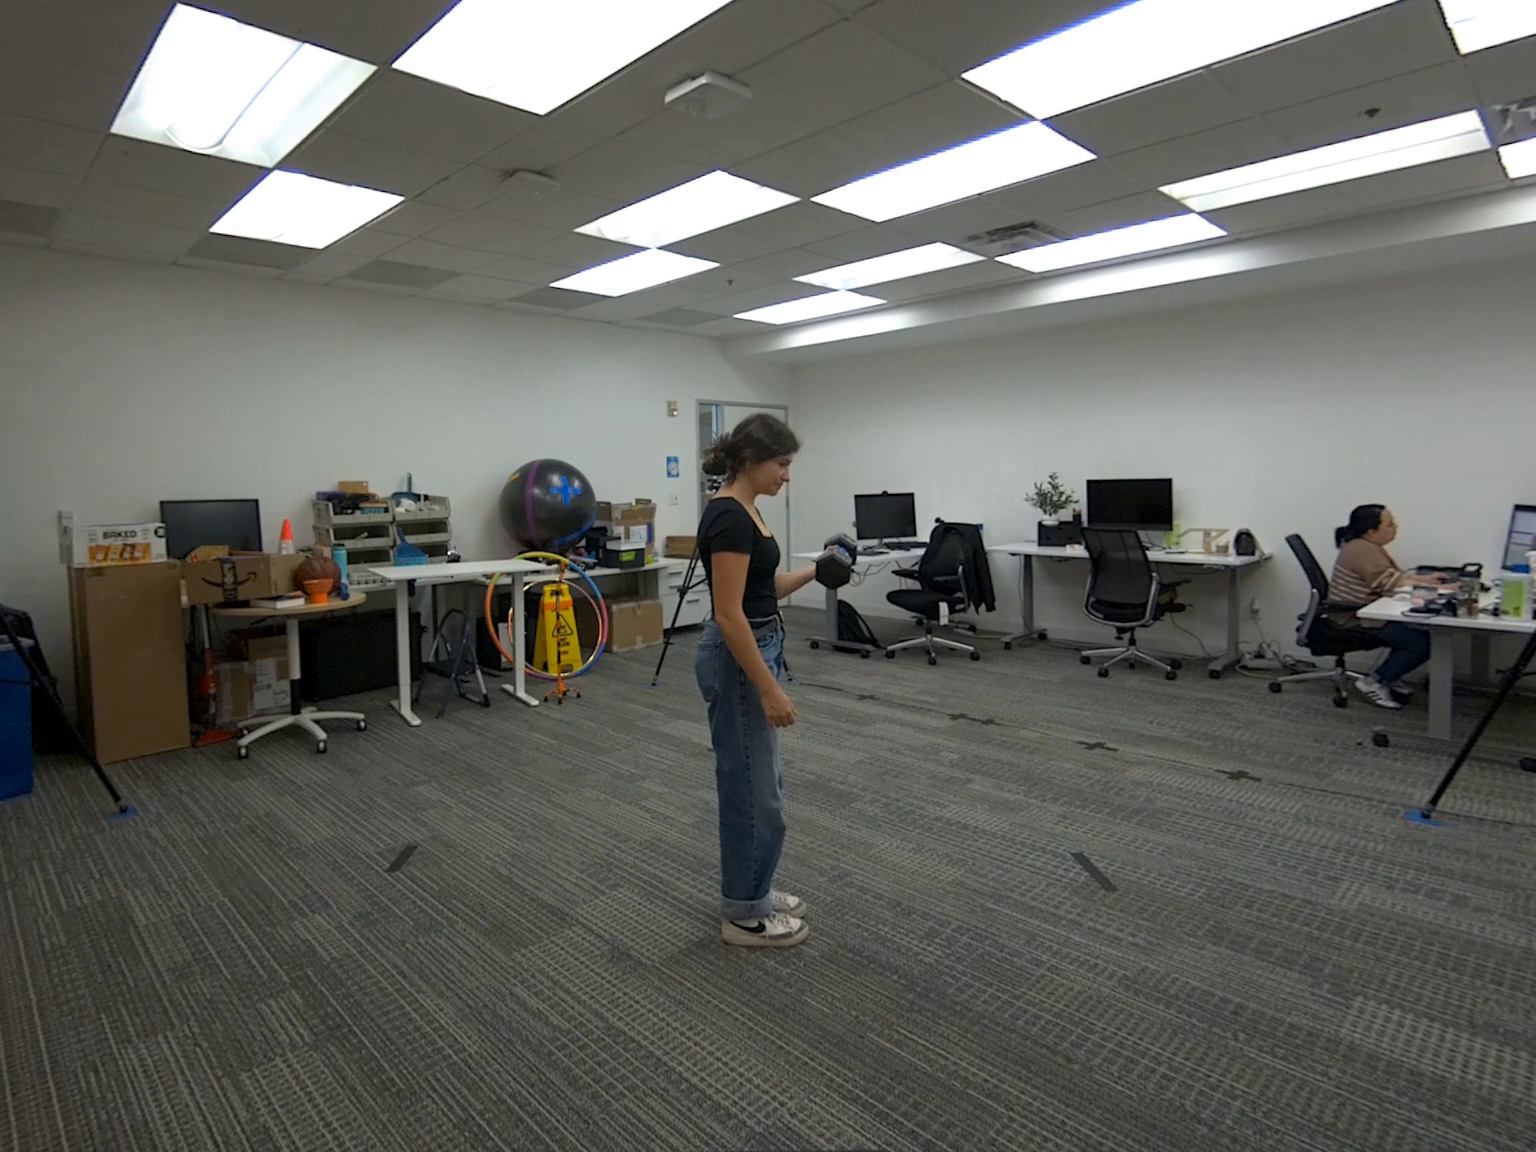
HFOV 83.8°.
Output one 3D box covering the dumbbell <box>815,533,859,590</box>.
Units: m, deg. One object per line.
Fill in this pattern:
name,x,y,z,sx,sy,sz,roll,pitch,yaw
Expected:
dumbbell,0.216,-0.047,2.761,0.124,0.108,0.294,-25,10,20
